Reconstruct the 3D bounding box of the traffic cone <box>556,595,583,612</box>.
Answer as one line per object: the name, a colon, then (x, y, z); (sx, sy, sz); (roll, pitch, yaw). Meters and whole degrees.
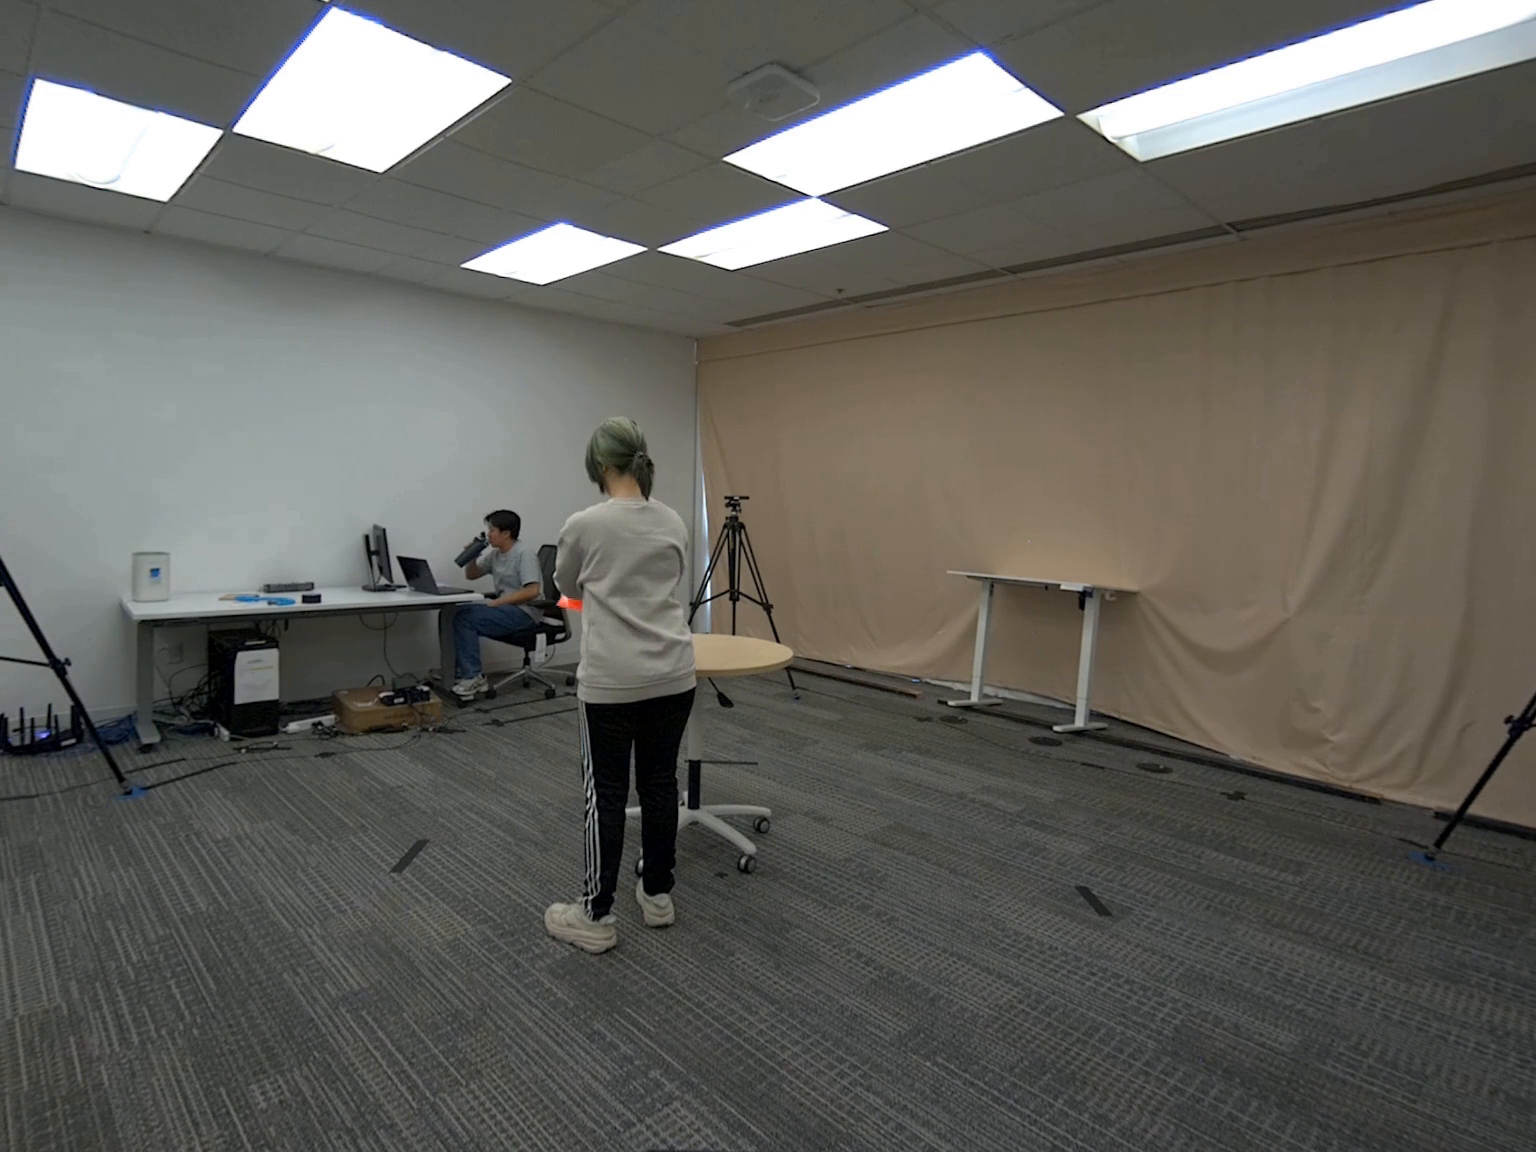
traffic cone: (-0.666, -0.073, 3.140); (0.205, 0.379, 0.205); (13, 20, 10)
